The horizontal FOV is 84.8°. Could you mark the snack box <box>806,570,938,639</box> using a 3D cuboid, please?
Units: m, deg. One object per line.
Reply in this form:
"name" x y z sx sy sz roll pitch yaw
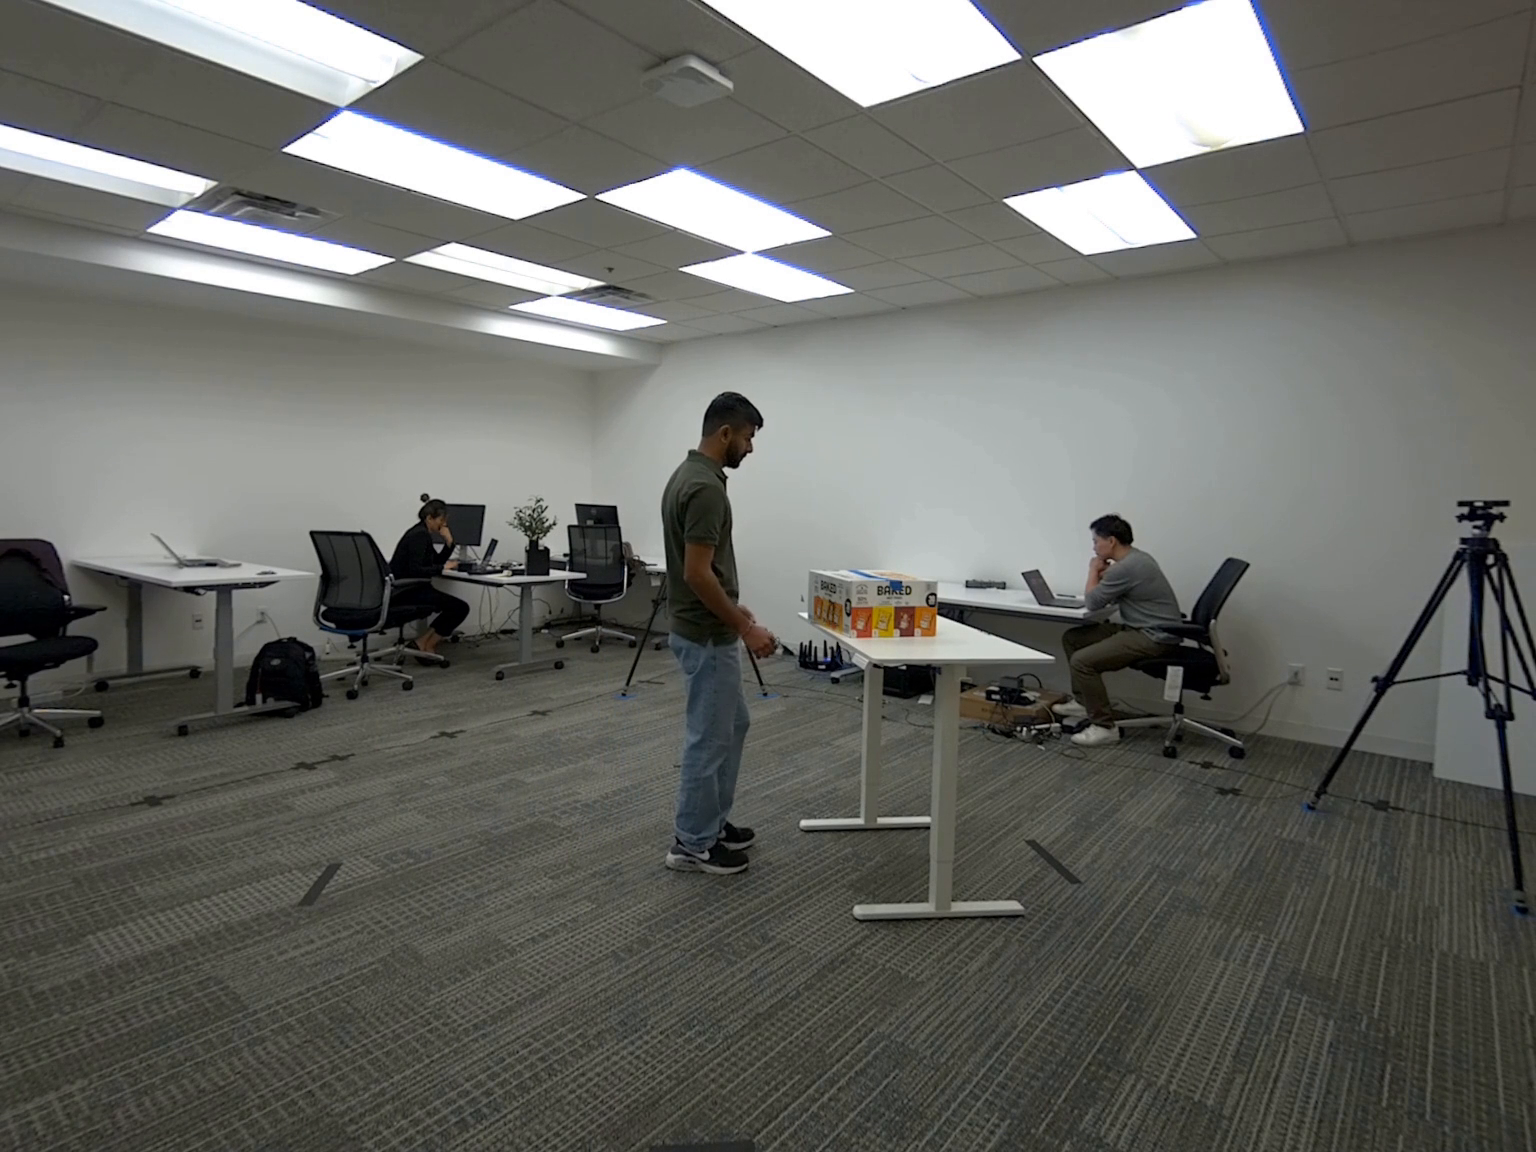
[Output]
"snack box" 0.378 0.096 3.211 0.334 0.205 0.414 0 5 -18
